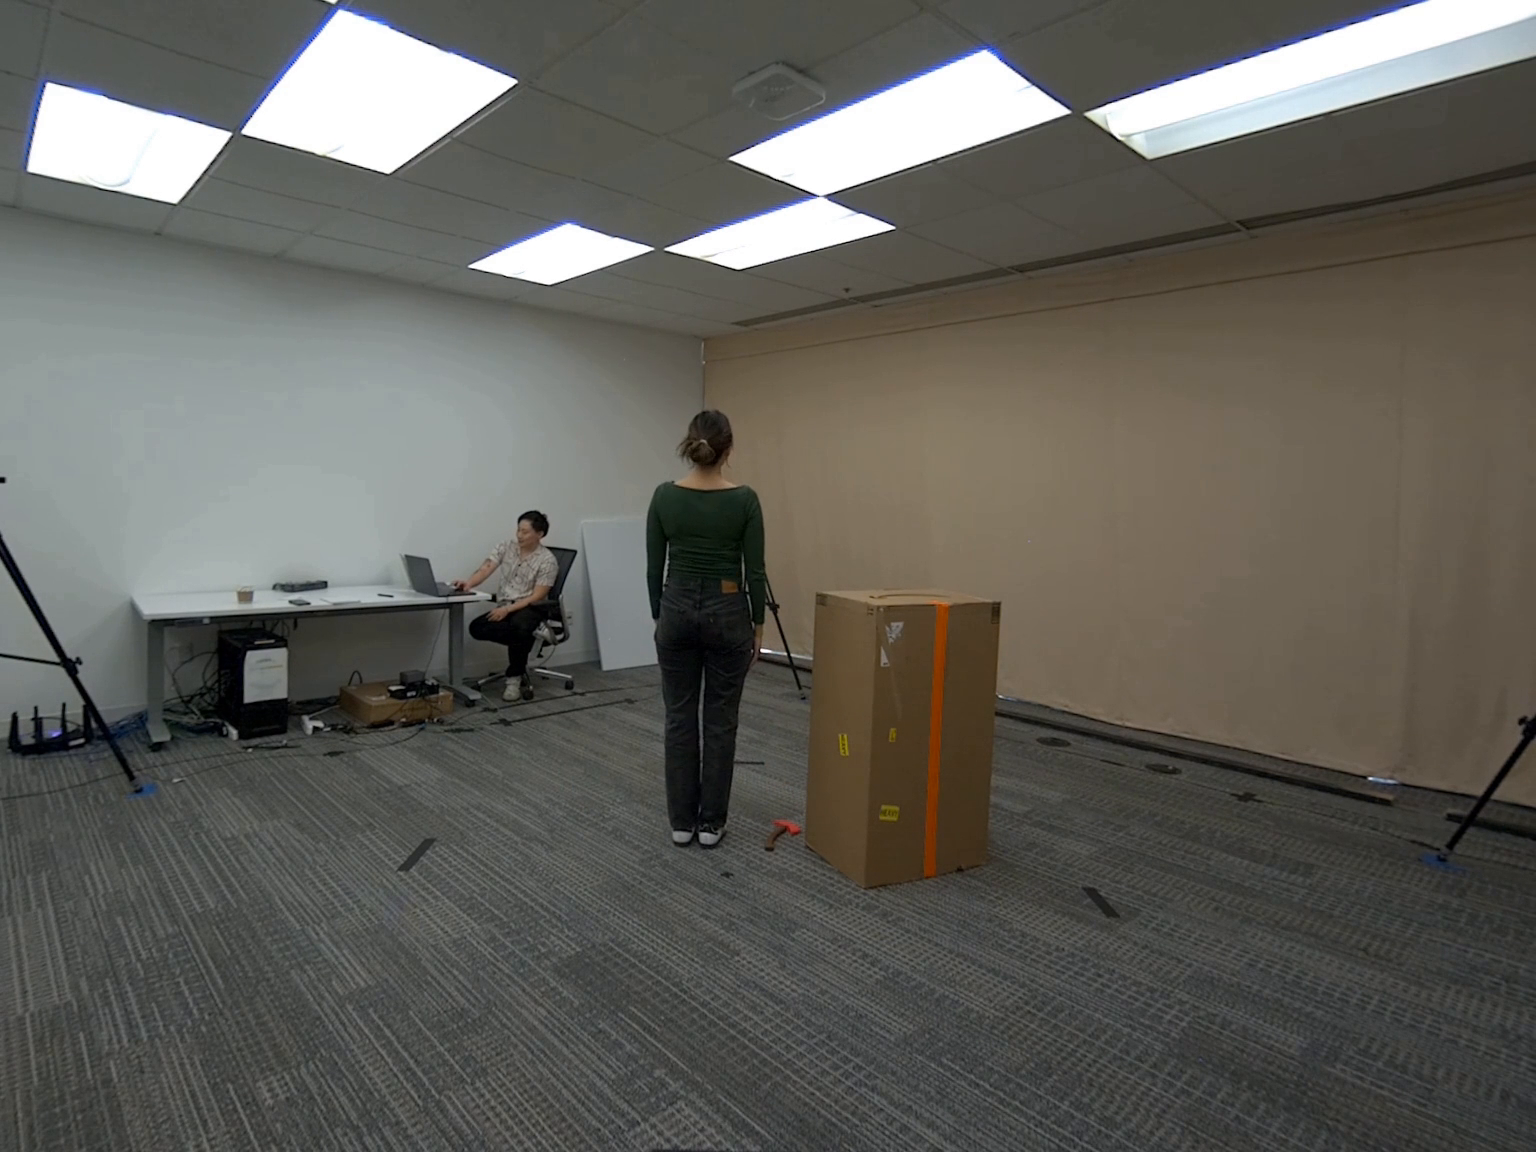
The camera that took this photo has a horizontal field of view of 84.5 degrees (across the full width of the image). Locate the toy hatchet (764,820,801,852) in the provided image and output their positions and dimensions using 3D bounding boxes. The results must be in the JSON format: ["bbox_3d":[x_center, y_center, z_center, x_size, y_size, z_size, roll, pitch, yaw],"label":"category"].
[{"bbox_3d":[0.059,1.061,3.441,0.132,0.029,0.270,4,9,5],"label":"toy hatchet"}]
